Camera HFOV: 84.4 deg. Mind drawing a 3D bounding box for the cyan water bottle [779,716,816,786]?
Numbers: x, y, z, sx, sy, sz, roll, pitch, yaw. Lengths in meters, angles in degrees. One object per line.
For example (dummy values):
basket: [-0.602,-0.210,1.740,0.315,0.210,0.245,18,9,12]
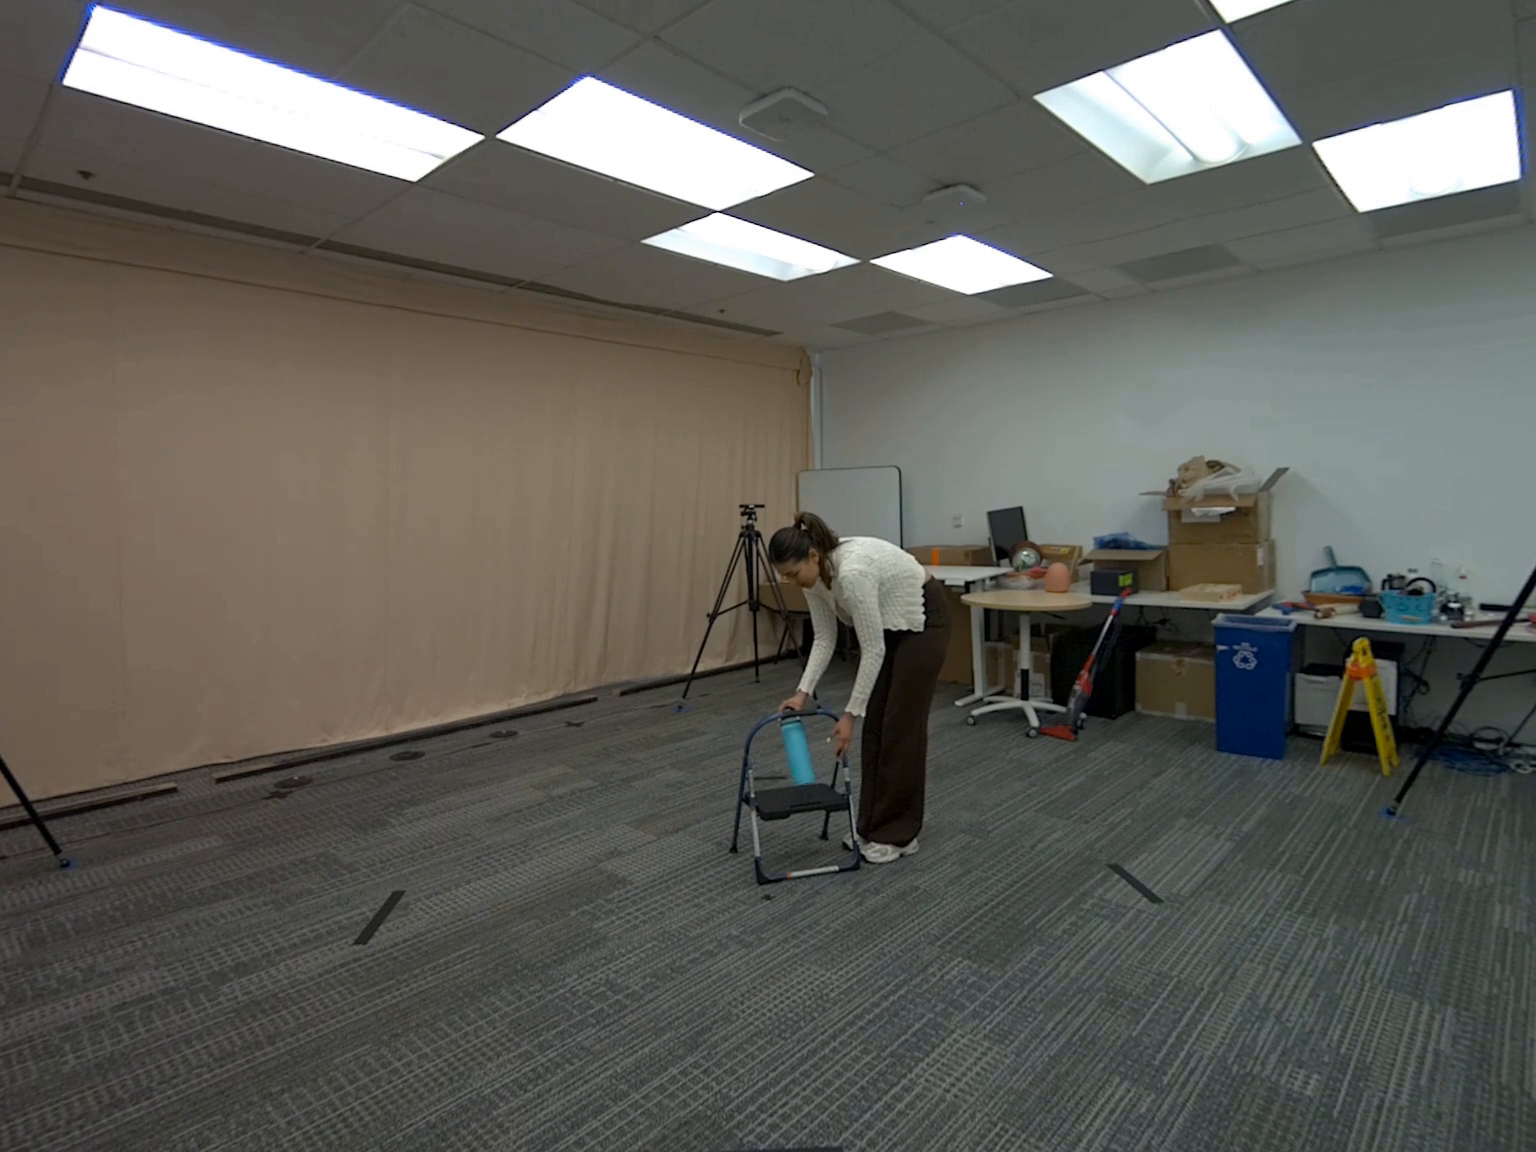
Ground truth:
cyan water bottle: [0.108,0.668,3.243,0.092,0.286,0.092,-9,-13,-4]
